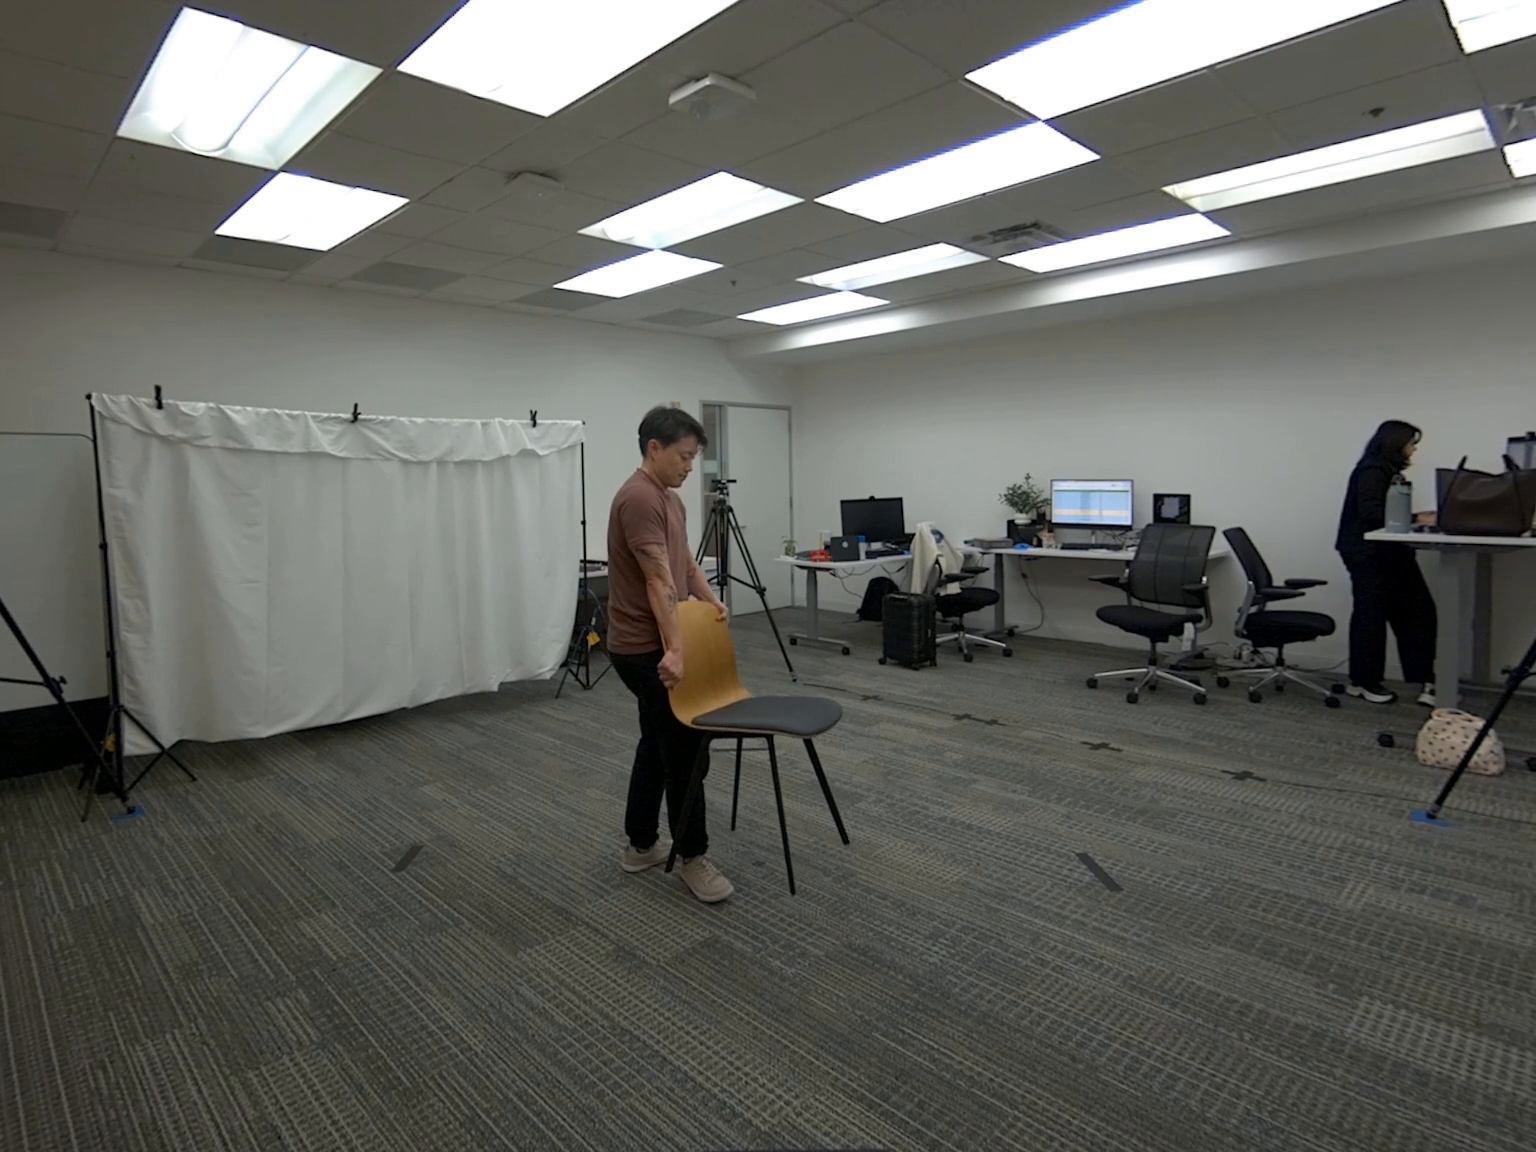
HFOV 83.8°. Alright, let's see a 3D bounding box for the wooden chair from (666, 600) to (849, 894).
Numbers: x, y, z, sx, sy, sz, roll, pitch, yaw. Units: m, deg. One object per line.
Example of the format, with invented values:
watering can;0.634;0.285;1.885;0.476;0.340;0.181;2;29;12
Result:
wooden chair;-0.030;0.500;2.802;0.534;0.880;0.467;-9;-3;28
